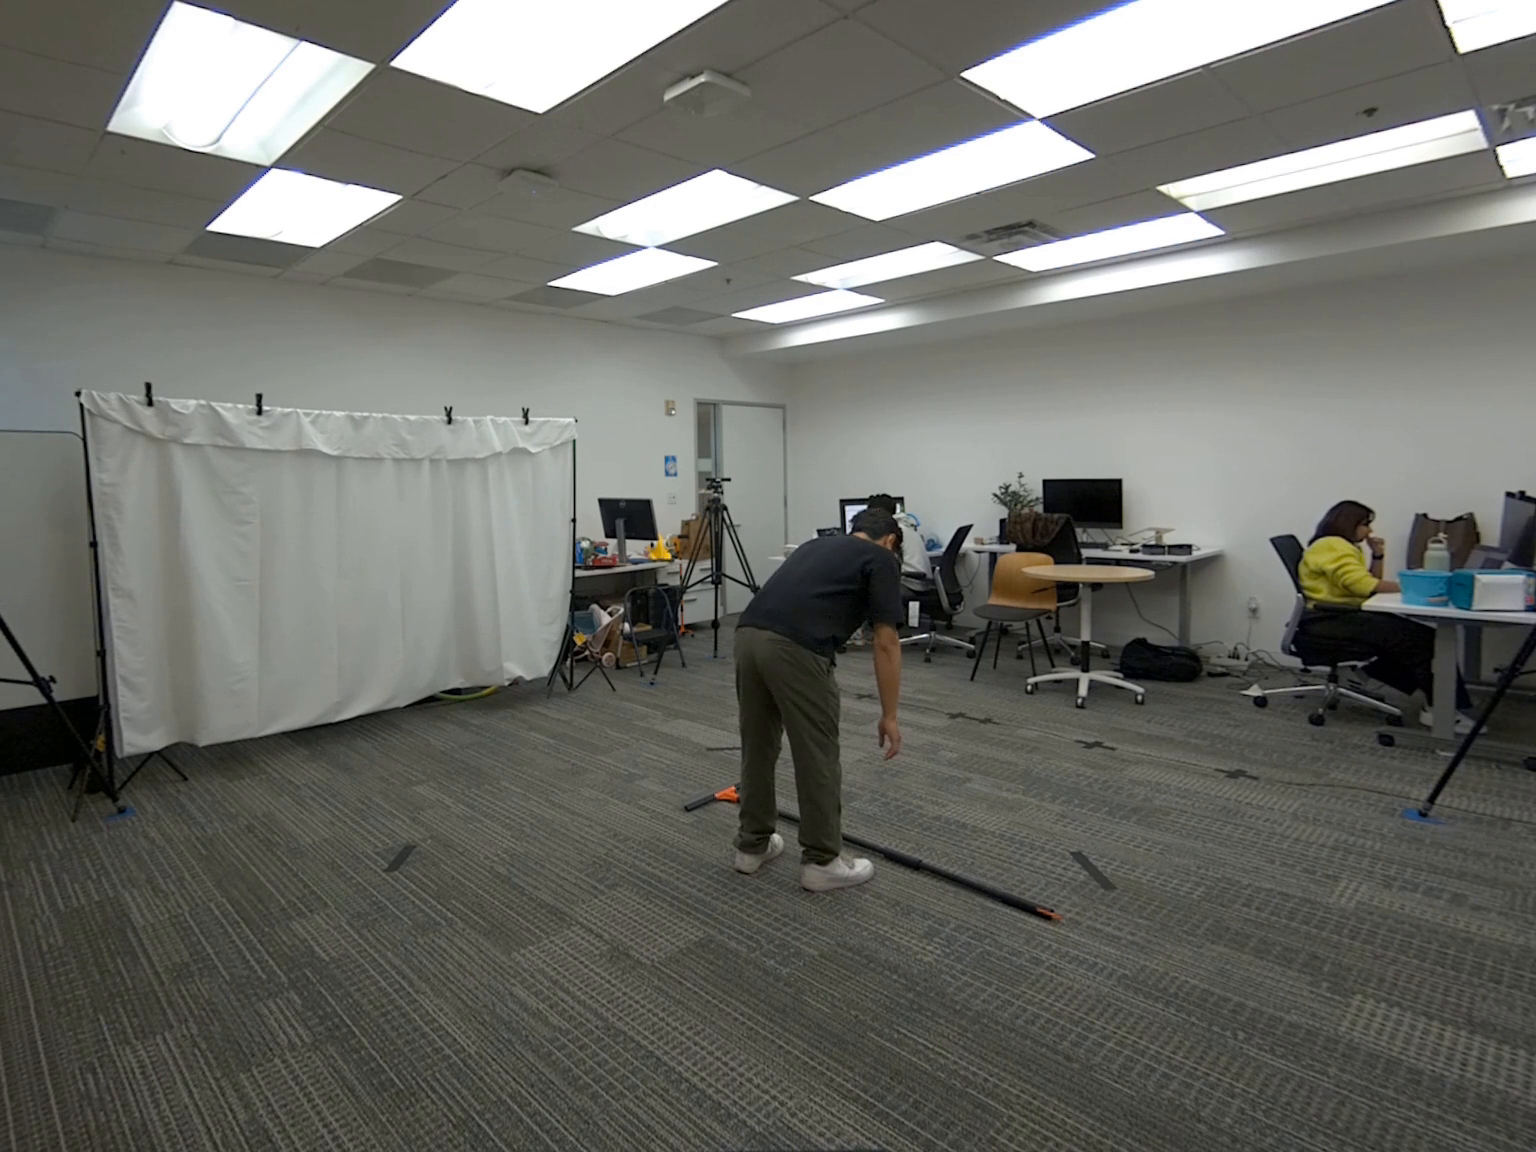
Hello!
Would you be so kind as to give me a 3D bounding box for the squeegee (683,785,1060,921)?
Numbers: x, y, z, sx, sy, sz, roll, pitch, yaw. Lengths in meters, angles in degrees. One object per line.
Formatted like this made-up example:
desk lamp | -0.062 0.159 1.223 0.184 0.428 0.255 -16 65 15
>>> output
squeegee | 0.338 0.984 3.207 1.586 0.052 0.426 6 11 45
